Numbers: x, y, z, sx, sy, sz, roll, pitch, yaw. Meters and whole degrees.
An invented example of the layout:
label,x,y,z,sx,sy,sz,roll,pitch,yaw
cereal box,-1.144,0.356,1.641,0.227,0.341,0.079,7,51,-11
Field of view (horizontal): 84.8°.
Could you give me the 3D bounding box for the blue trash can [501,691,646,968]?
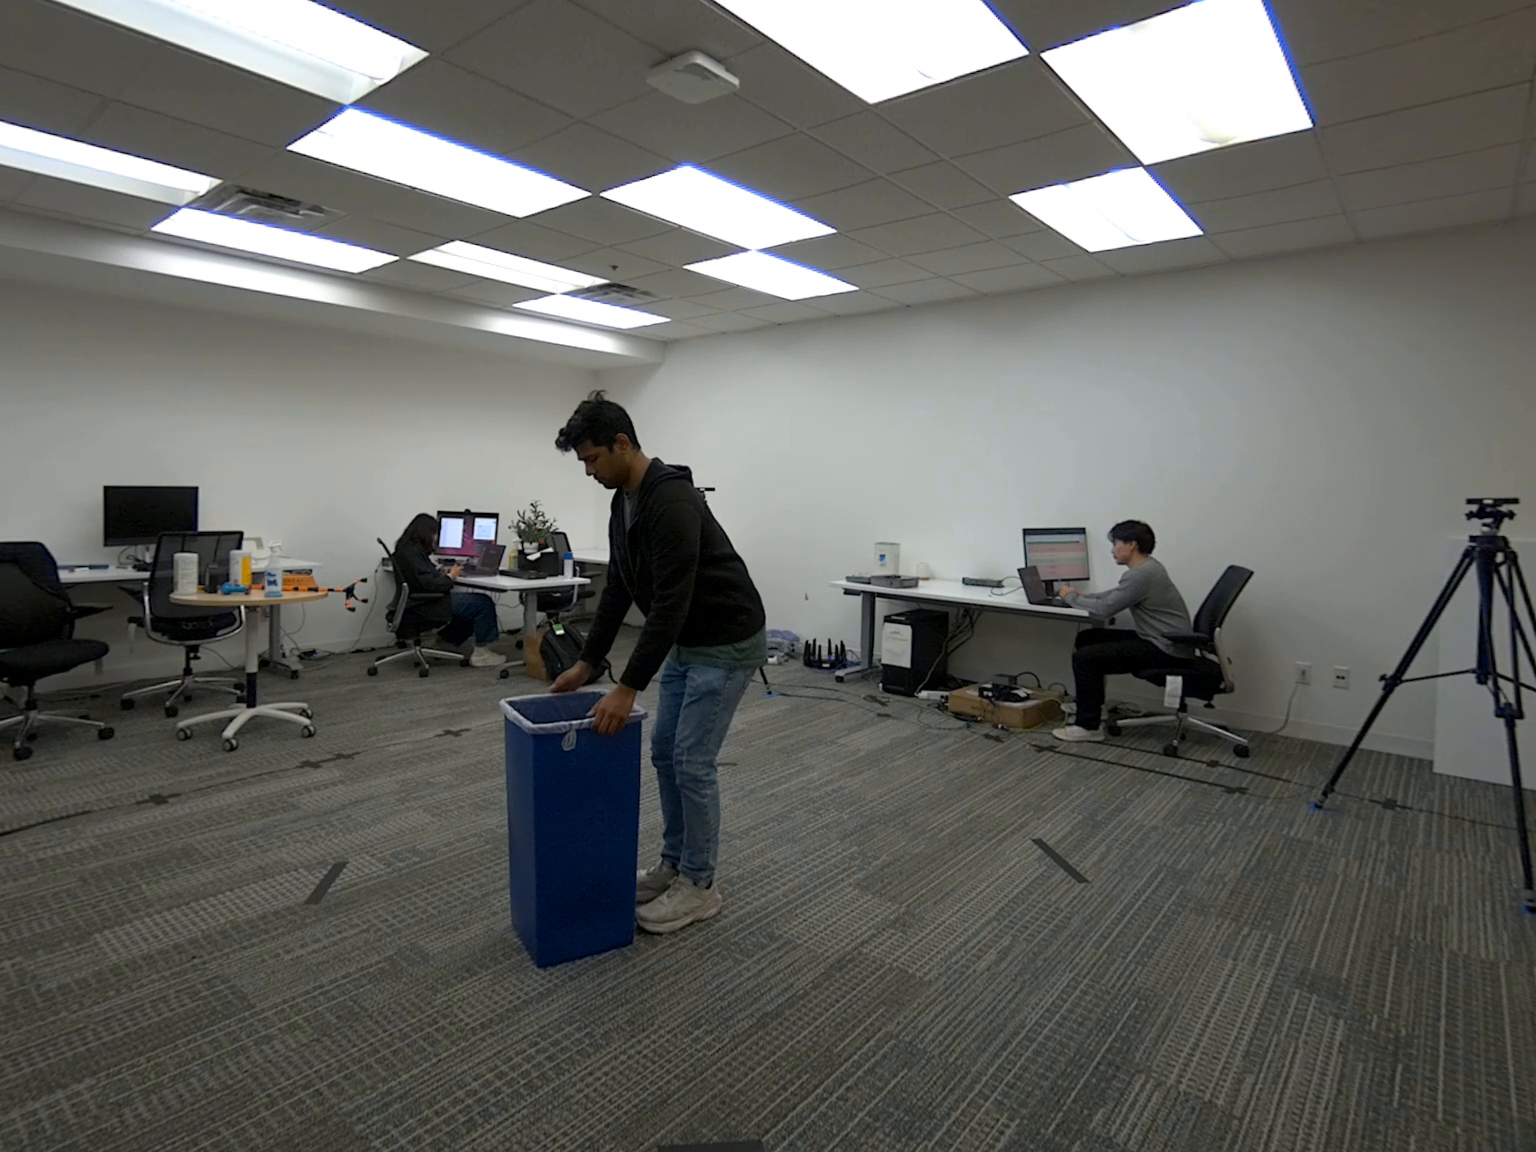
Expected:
label,x,y,z,sx,sy,sz,roll,pitch,yaw
blue trash can,-0.621,0.749,2.622,0.368,0.711,0.385,-1,4,-31
